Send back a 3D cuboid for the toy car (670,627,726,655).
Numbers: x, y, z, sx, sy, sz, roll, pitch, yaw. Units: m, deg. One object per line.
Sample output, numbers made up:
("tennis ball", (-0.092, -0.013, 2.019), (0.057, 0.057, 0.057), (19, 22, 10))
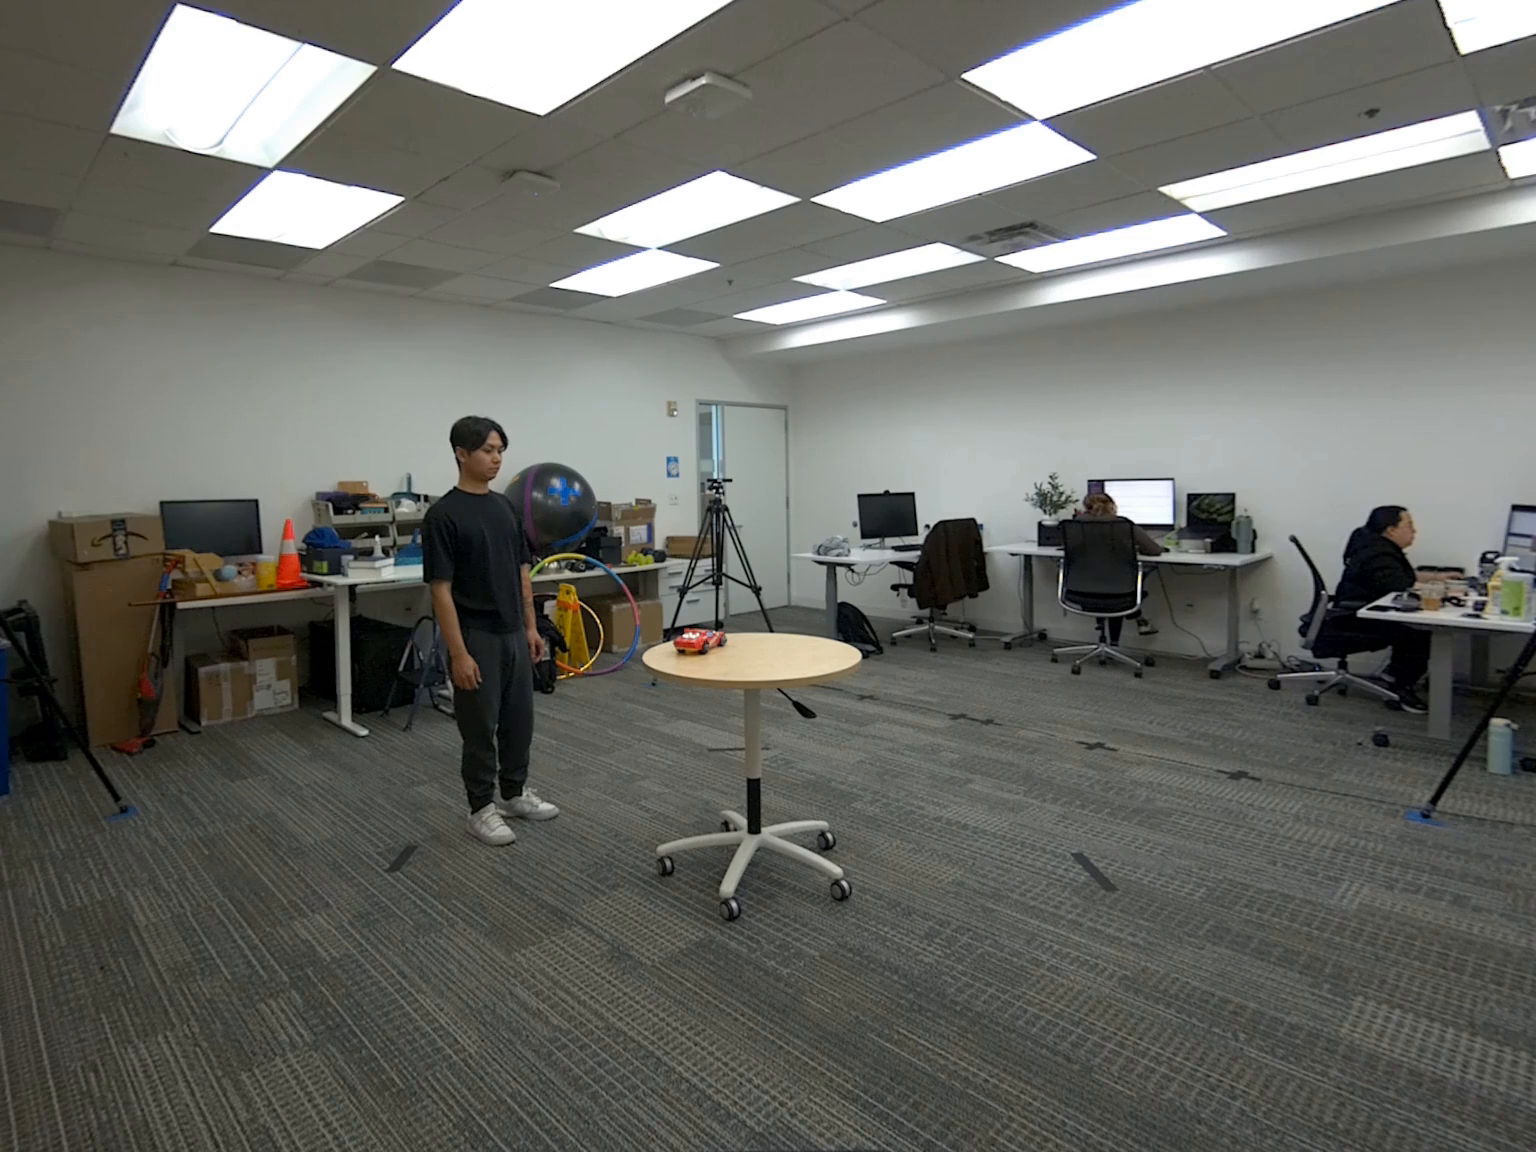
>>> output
("toy car", (-0.248, 0.236, 3.075), (0.133, 0.083, 0.248), (2, -4, 24))
